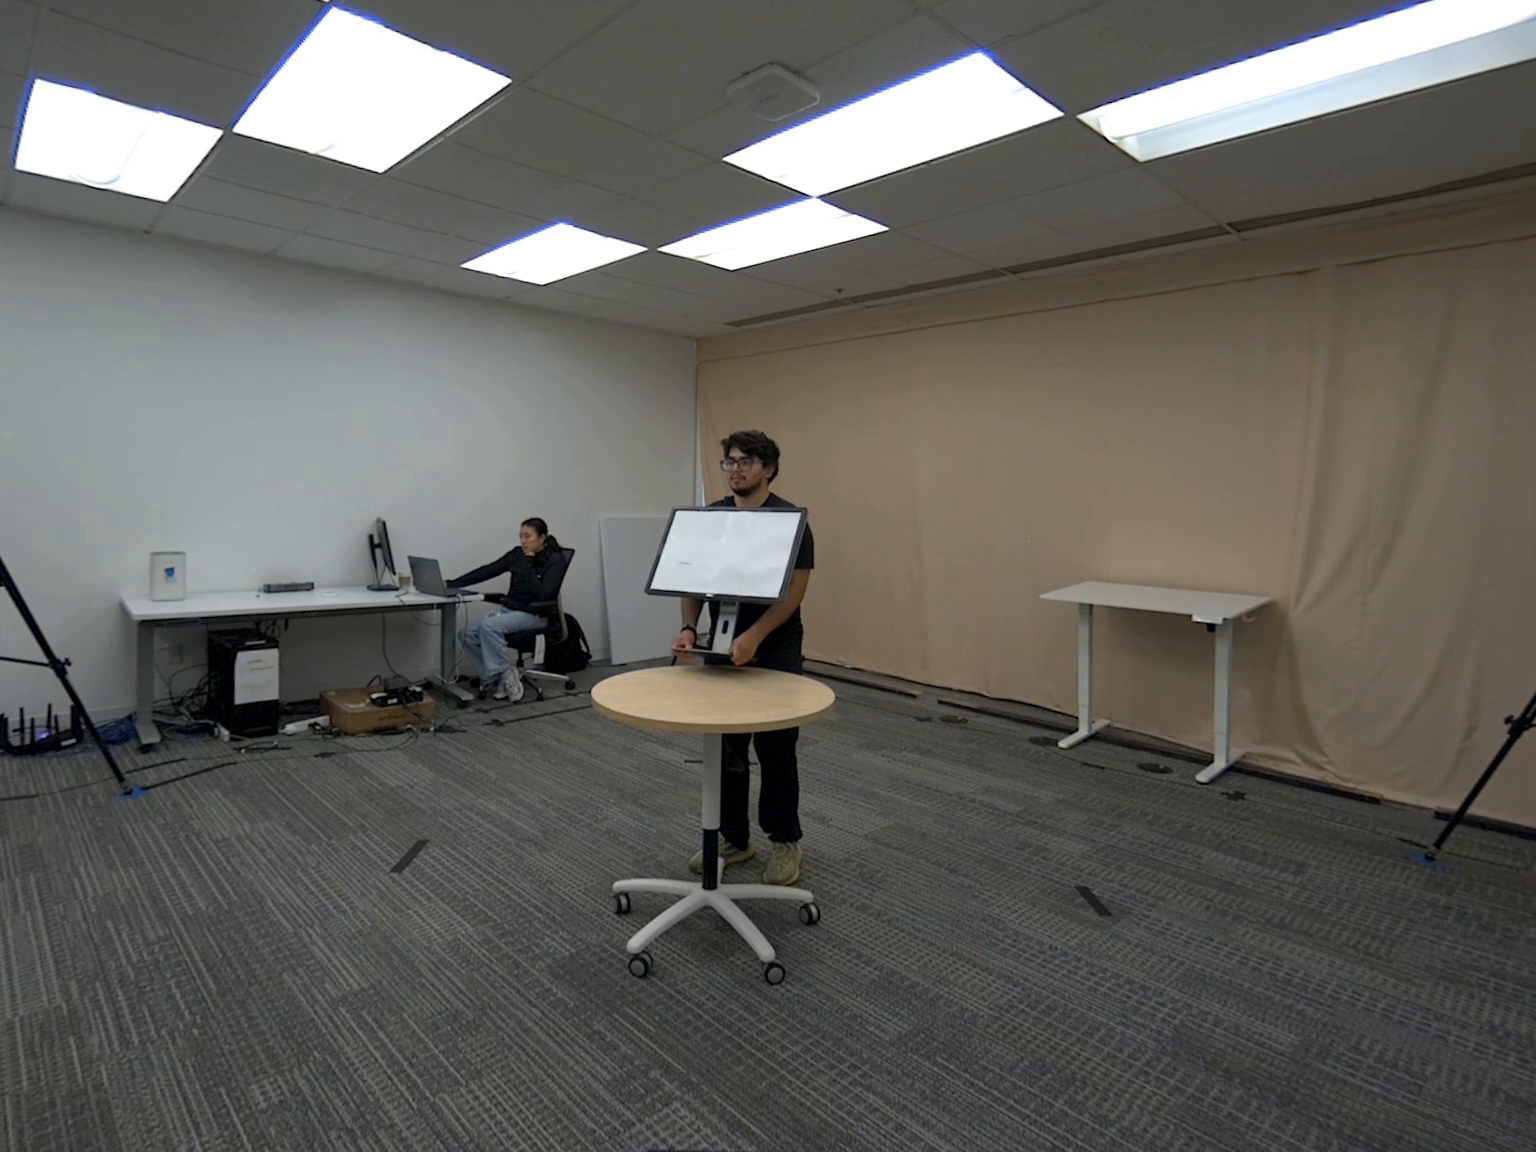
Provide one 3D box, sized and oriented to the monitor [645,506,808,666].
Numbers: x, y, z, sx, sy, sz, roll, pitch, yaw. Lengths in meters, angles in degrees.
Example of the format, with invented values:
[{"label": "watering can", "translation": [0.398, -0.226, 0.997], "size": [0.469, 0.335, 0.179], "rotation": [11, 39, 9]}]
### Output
[{"label": "monitor", "translation": [-0.154, 0.028, 2.997], "size": [0.577, 0.559, 0.204], "rotation": [2, -20, 29]}]
